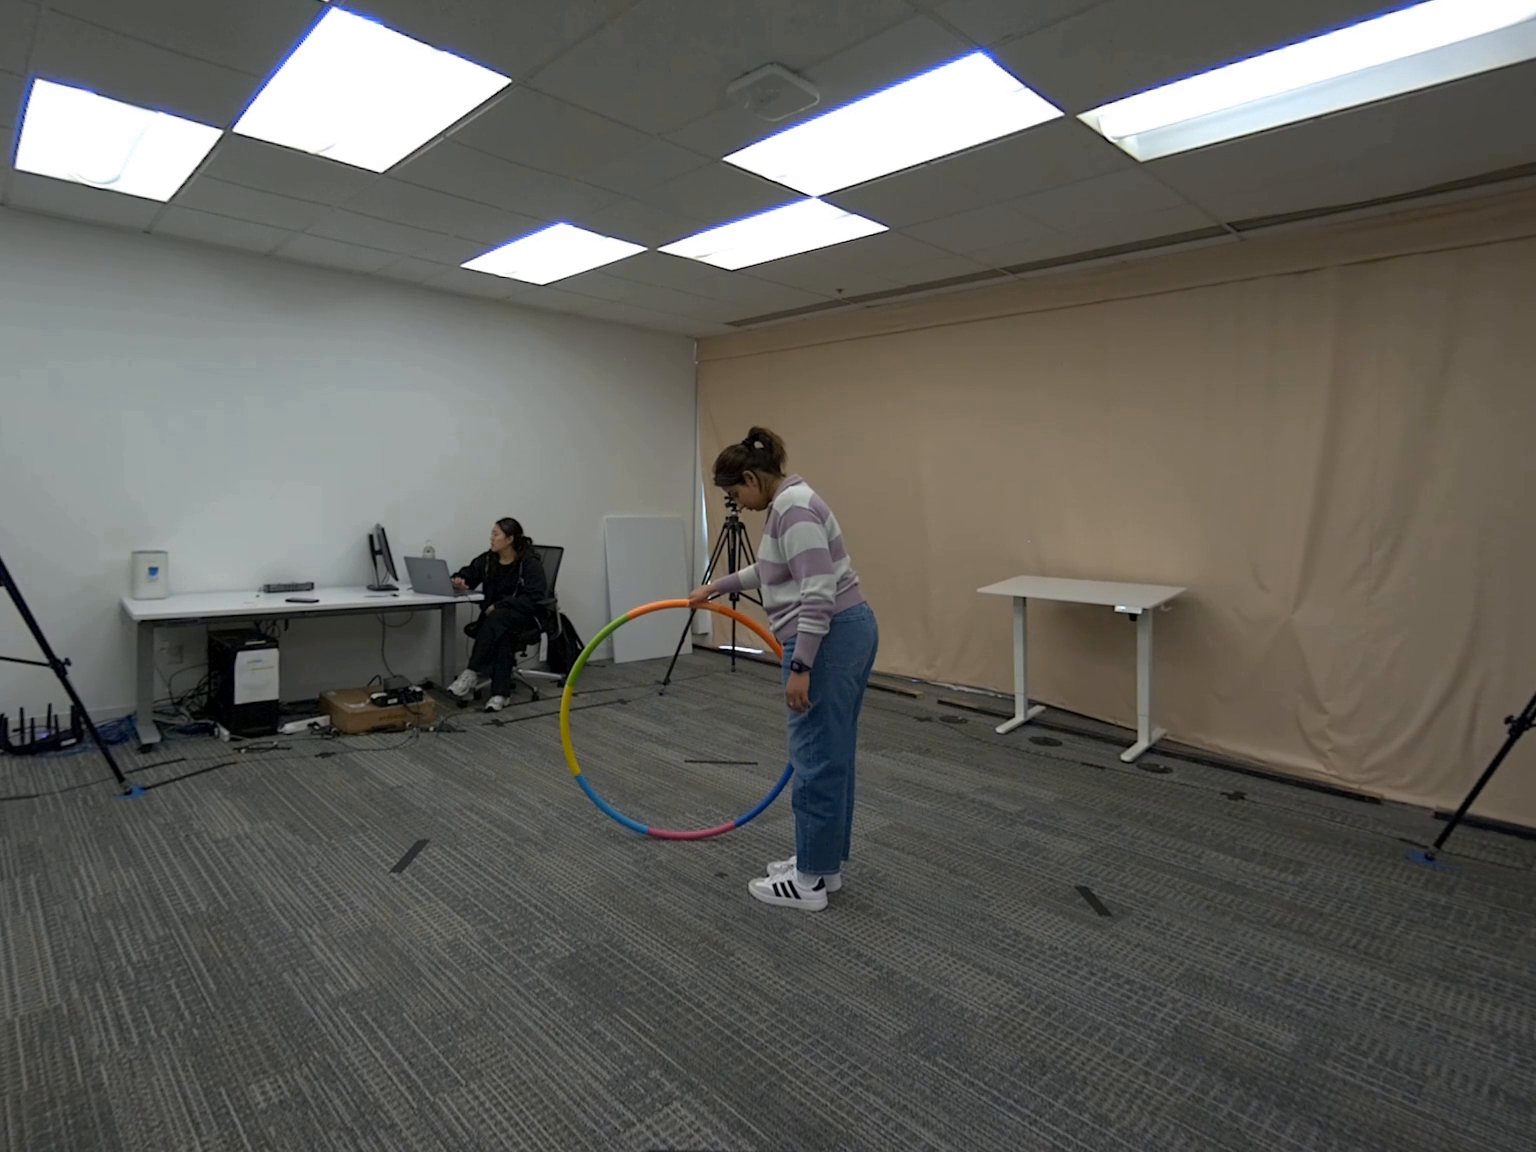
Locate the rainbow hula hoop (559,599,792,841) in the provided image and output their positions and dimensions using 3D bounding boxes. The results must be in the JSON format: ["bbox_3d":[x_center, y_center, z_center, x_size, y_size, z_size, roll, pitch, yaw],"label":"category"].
[{"bbox_3d":[-0.346,0.585,3.383,0.980,0.975,0.035,2,4,2],"label":"rainbow hula hoop"}]
